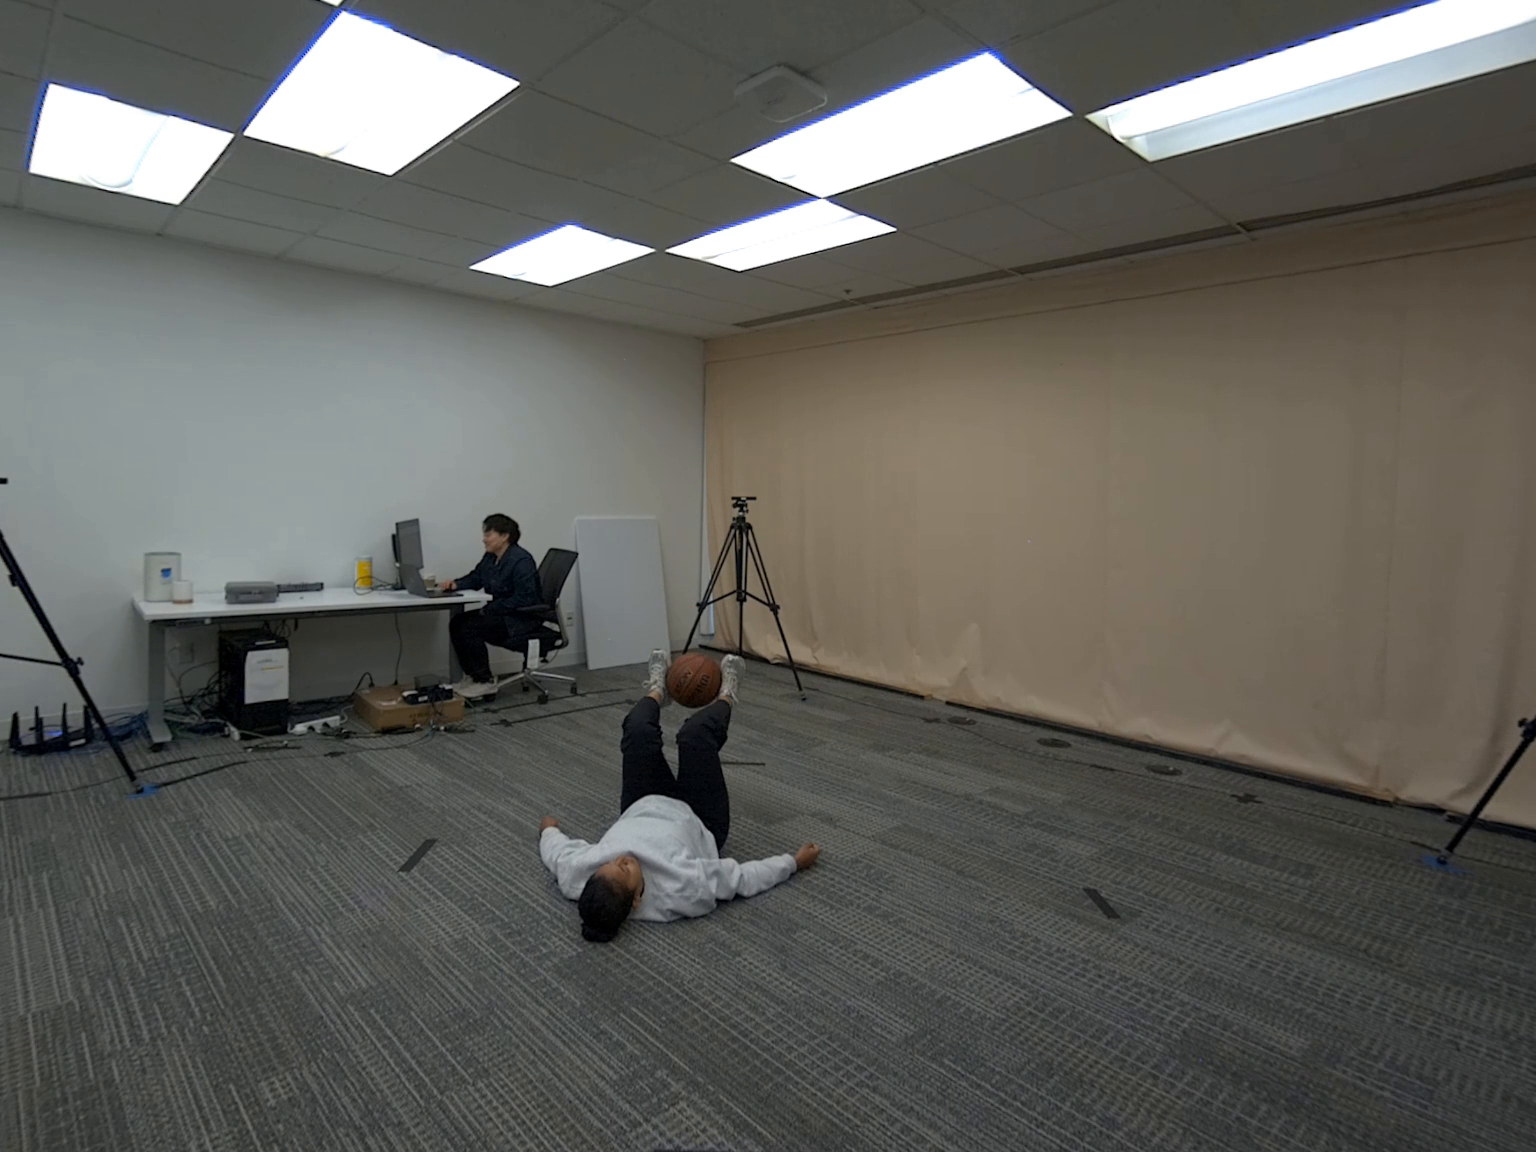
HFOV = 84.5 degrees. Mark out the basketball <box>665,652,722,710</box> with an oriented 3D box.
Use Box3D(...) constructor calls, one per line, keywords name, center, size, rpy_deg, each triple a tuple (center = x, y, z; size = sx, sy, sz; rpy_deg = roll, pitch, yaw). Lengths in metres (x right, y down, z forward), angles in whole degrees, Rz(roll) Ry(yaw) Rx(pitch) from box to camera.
Box3D(name="basketball", center=(-0.326, 0.439, 3.604), size=(0.235, 0.235, 0.237), rpy_deg=(4, 7, -2))
